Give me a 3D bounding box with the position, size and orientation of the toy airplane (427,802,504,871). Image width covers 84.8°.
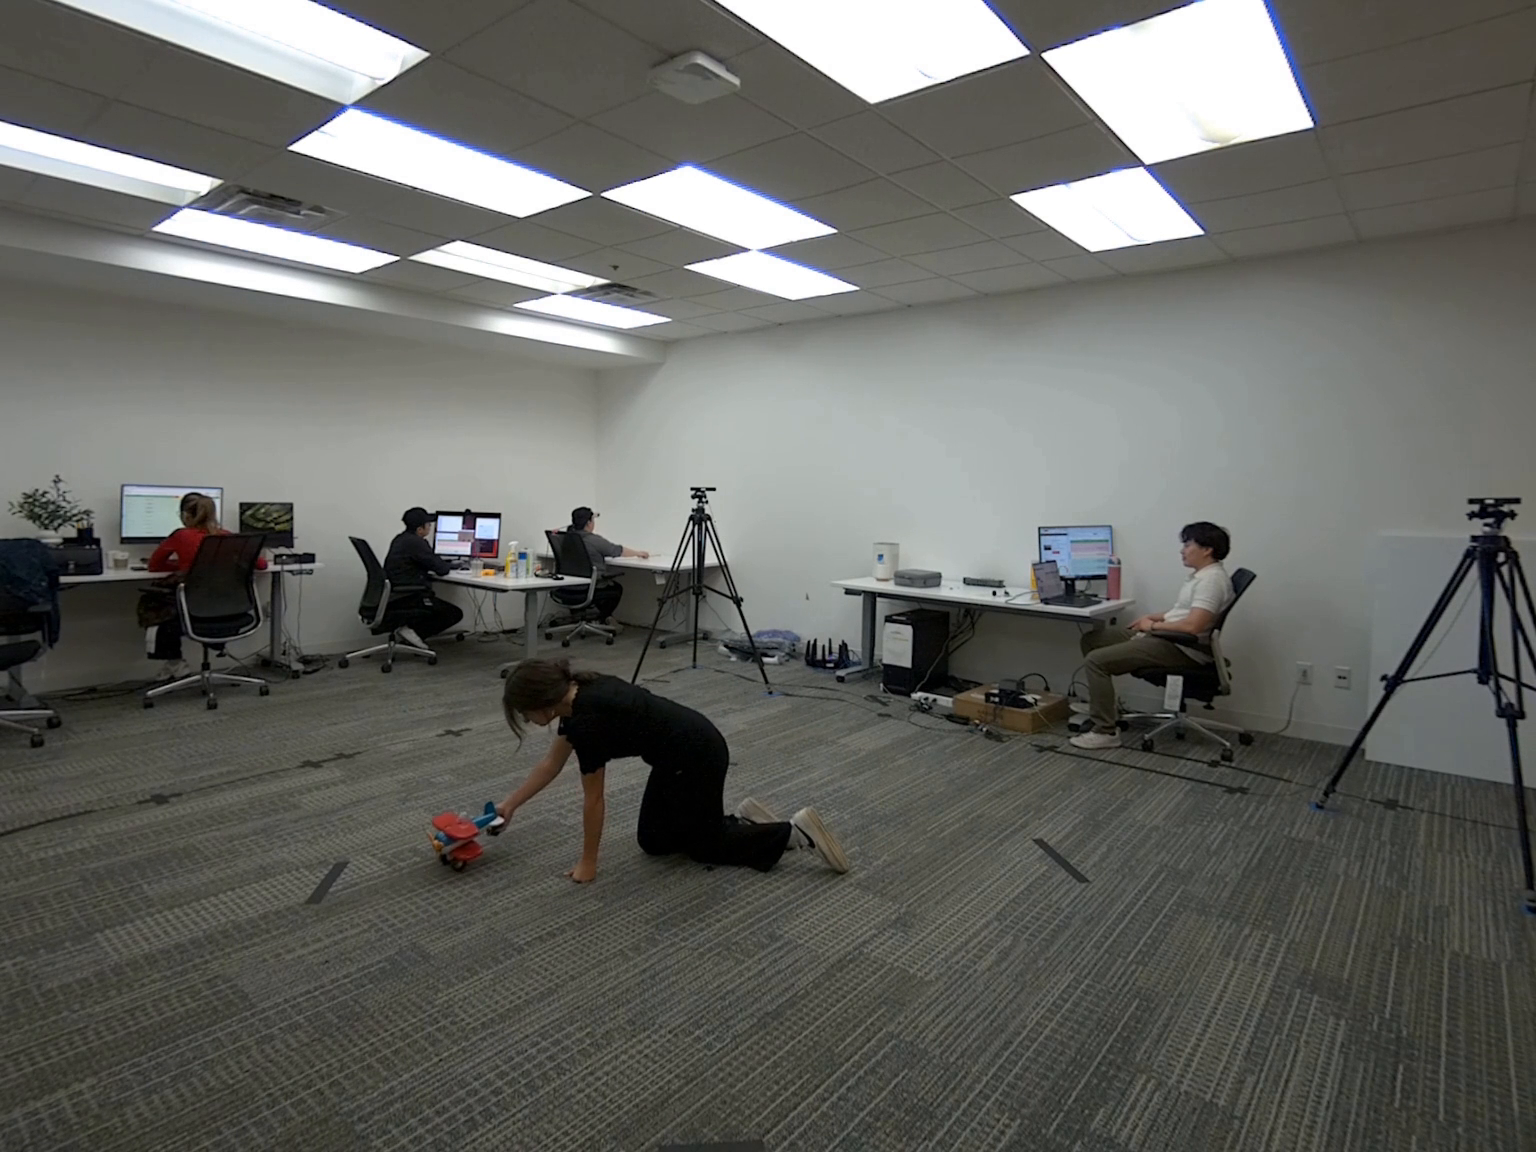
[{"bbox_3d":[-1.136,0.948,3.137,0.254,0.152,0.262,-11,24,14],"label":"toy airplane"}]
